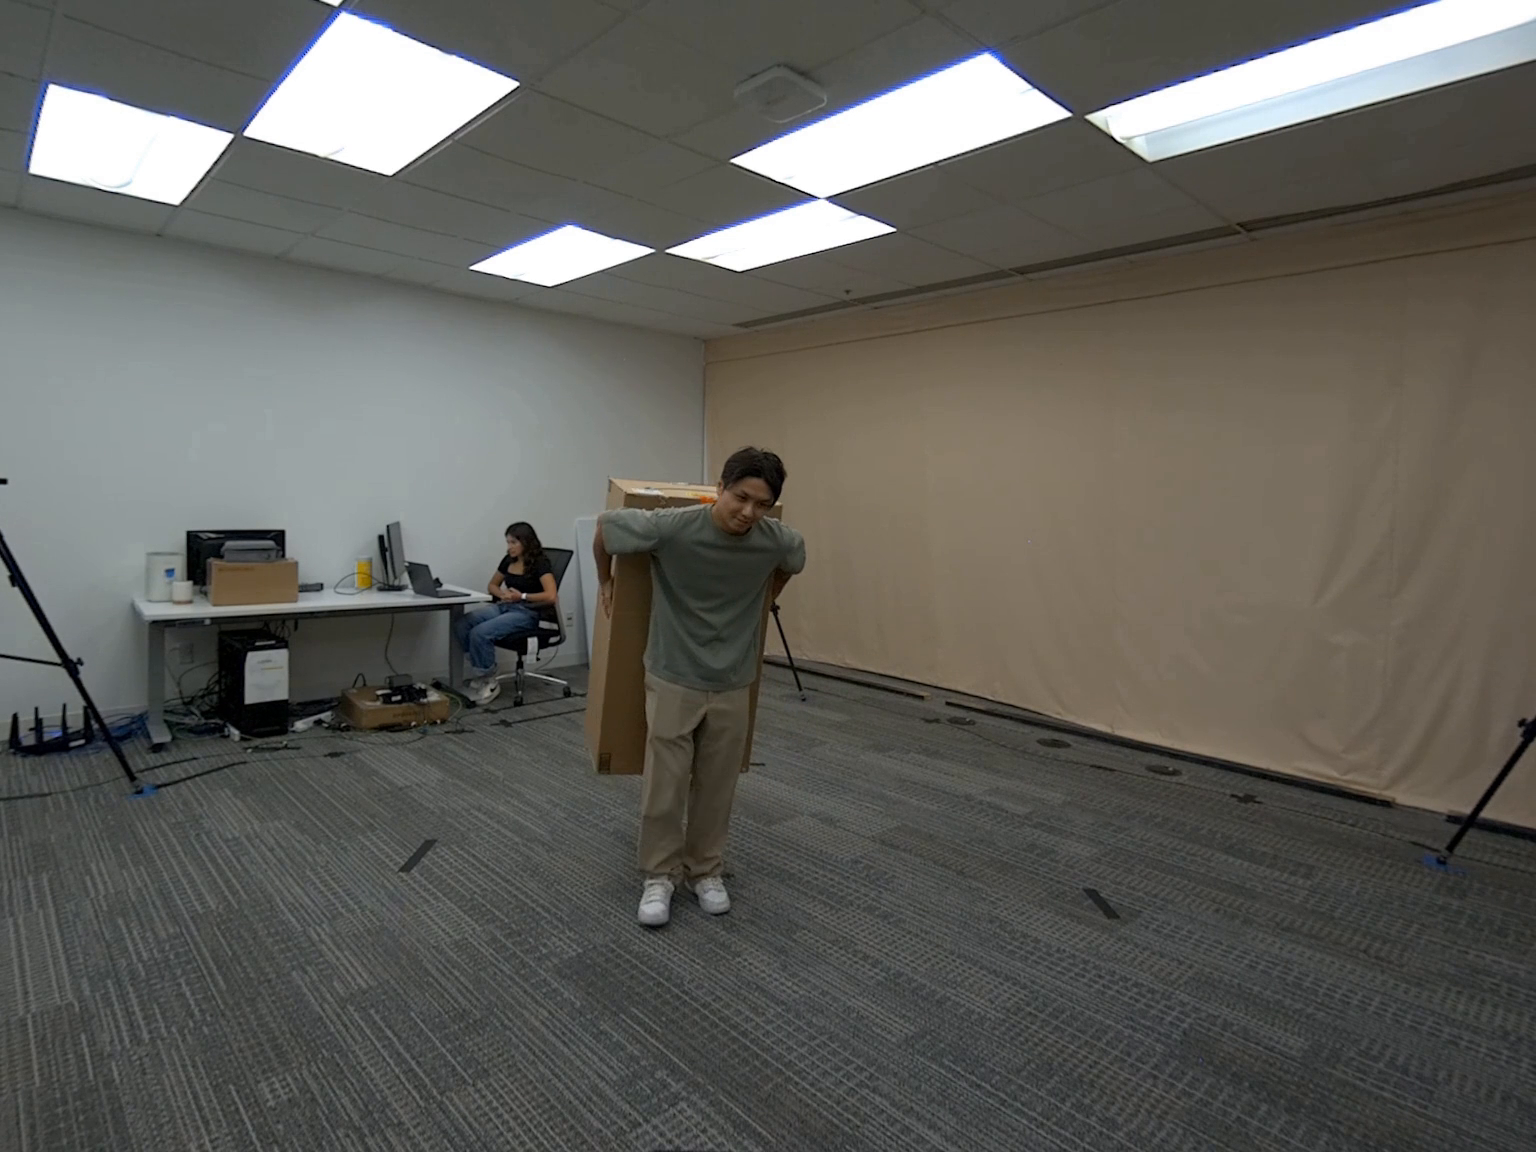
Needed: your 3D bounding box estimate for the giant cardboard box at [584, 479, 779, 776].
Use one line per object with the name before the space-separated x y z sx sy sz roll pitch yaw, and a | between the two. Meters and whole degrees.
giant cardboard box | -0.350 0.185 3.186 0.569 1.019 0.435 4 10 -18
